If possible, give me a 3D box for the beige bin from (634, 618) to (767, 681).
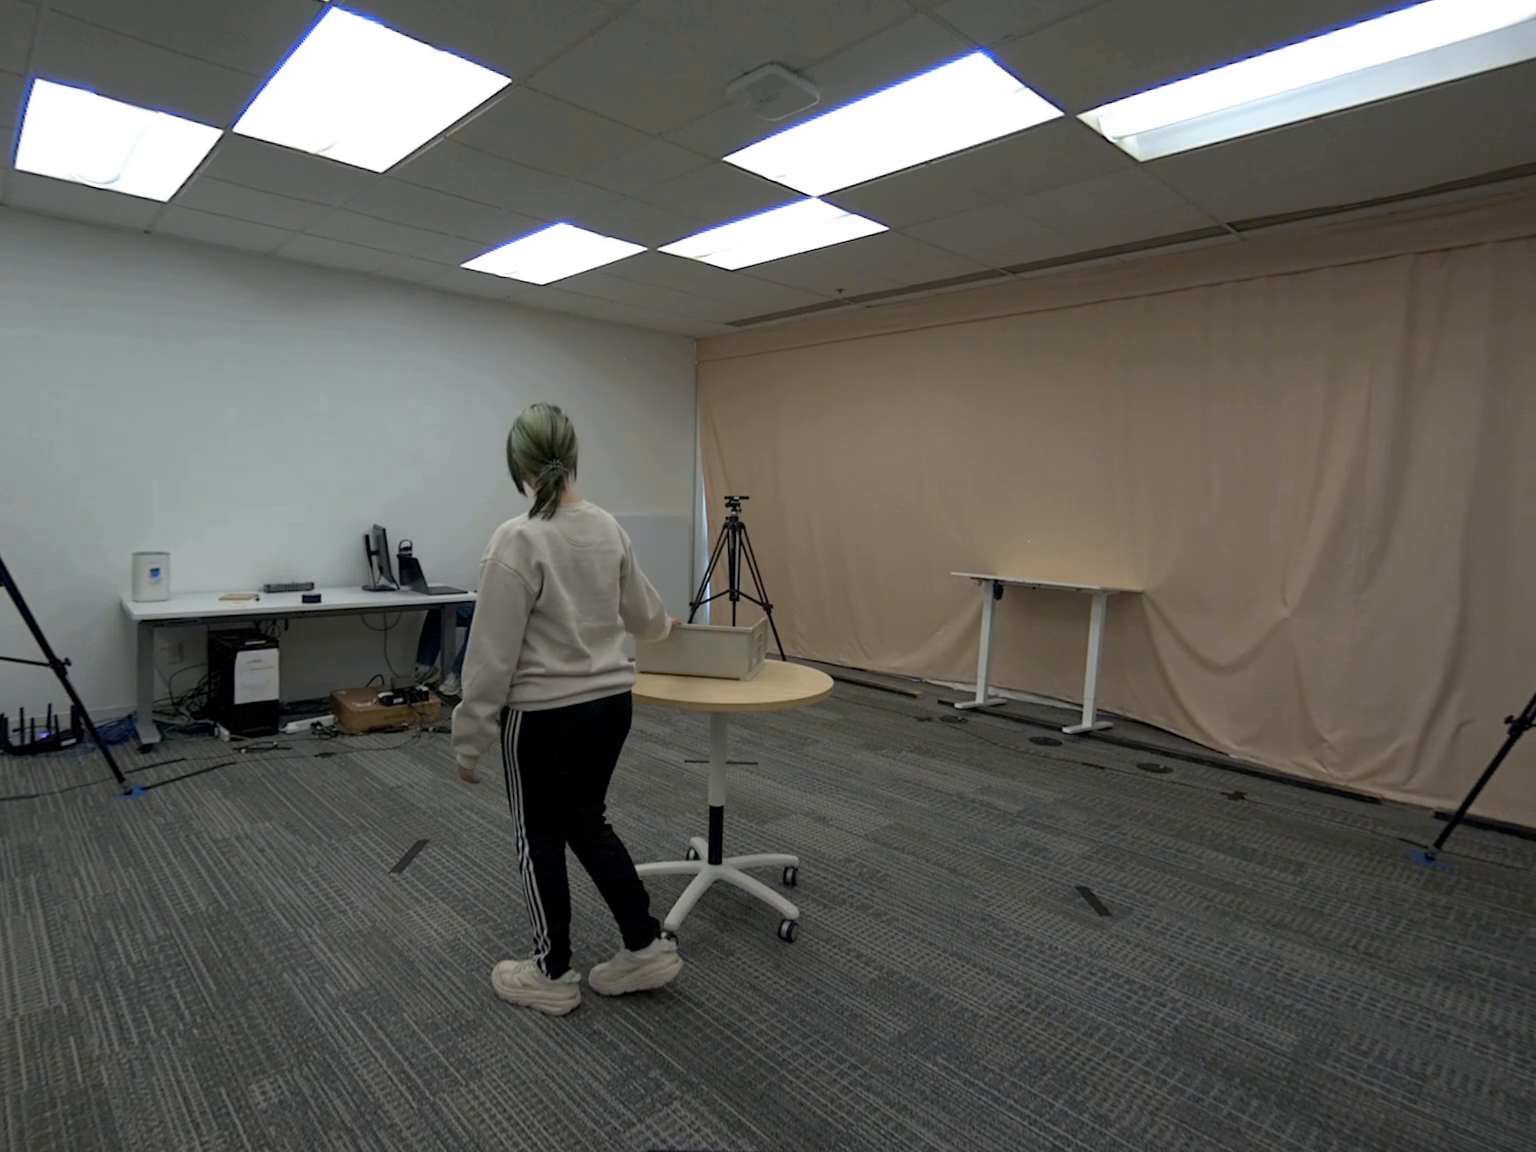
[{"bbox_3d":[-0.236,0.235,2.986,0.426,0.188,0.376,3,7,9],"label":"beige bin"}]
